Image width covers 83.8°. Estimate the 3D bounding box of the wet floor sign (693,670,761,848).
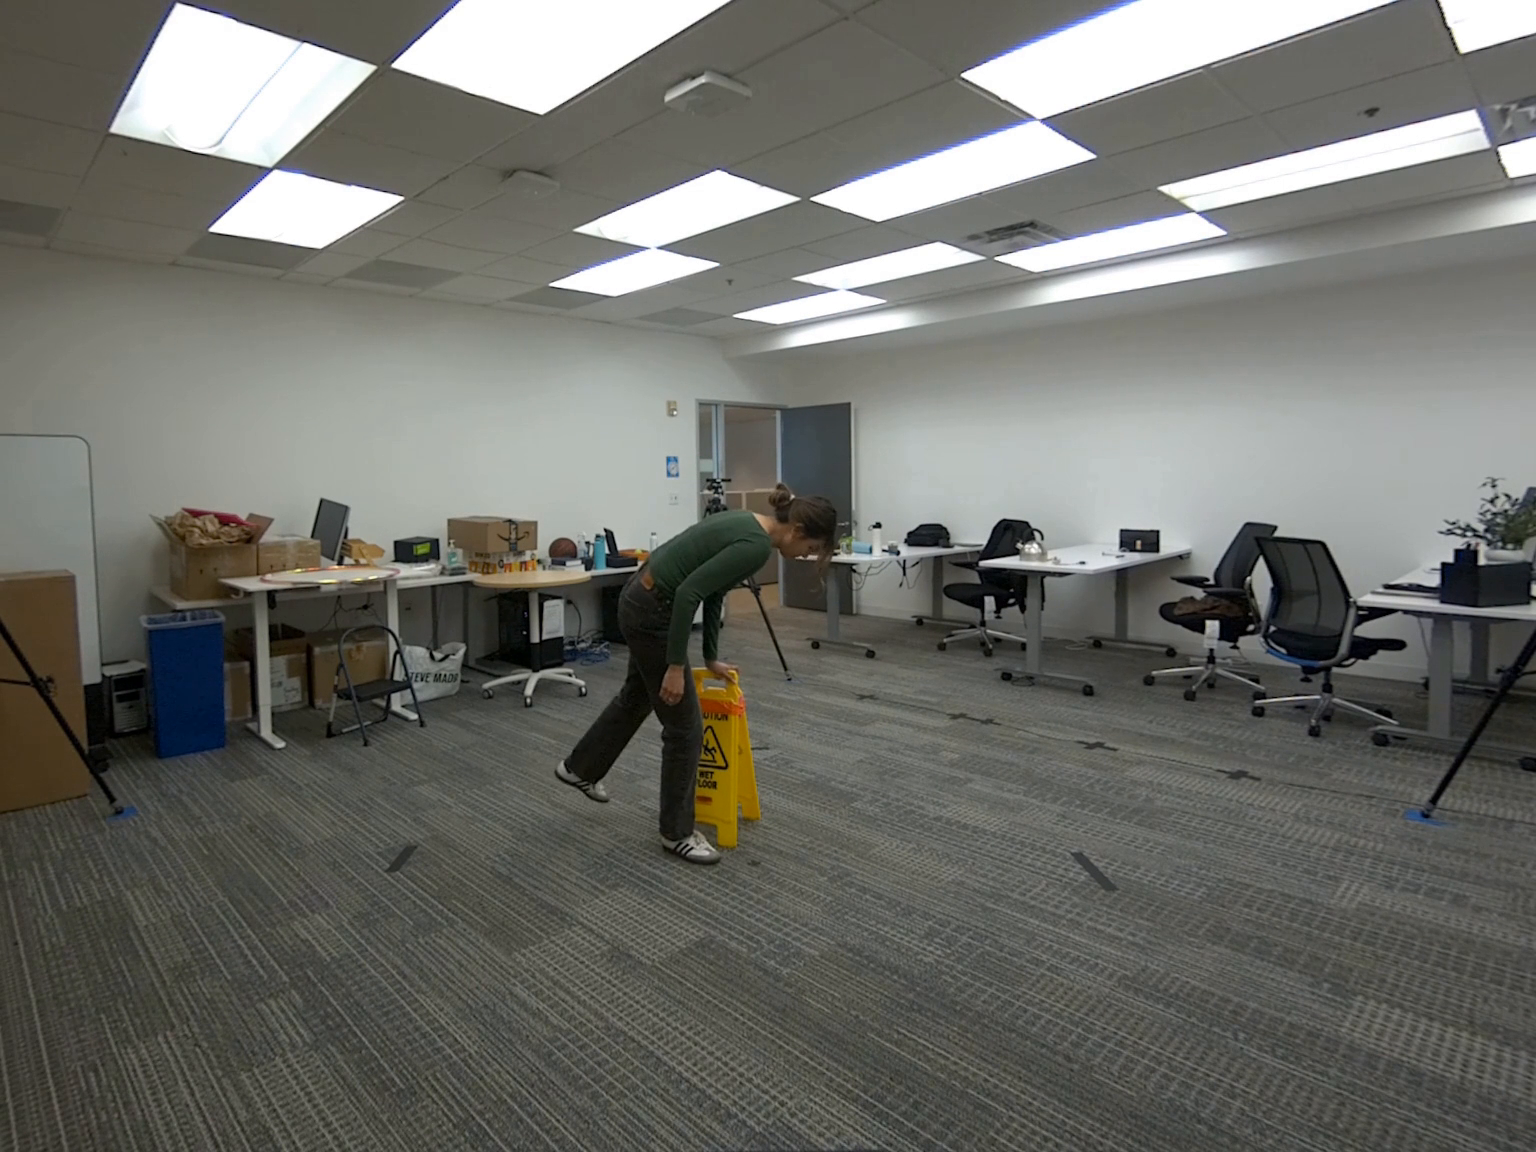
[{"bbox_3d":[-0.213,0.688,3.403,0.288,0.643,0.285,0,4,20],"label":"wet floor sign"}]
